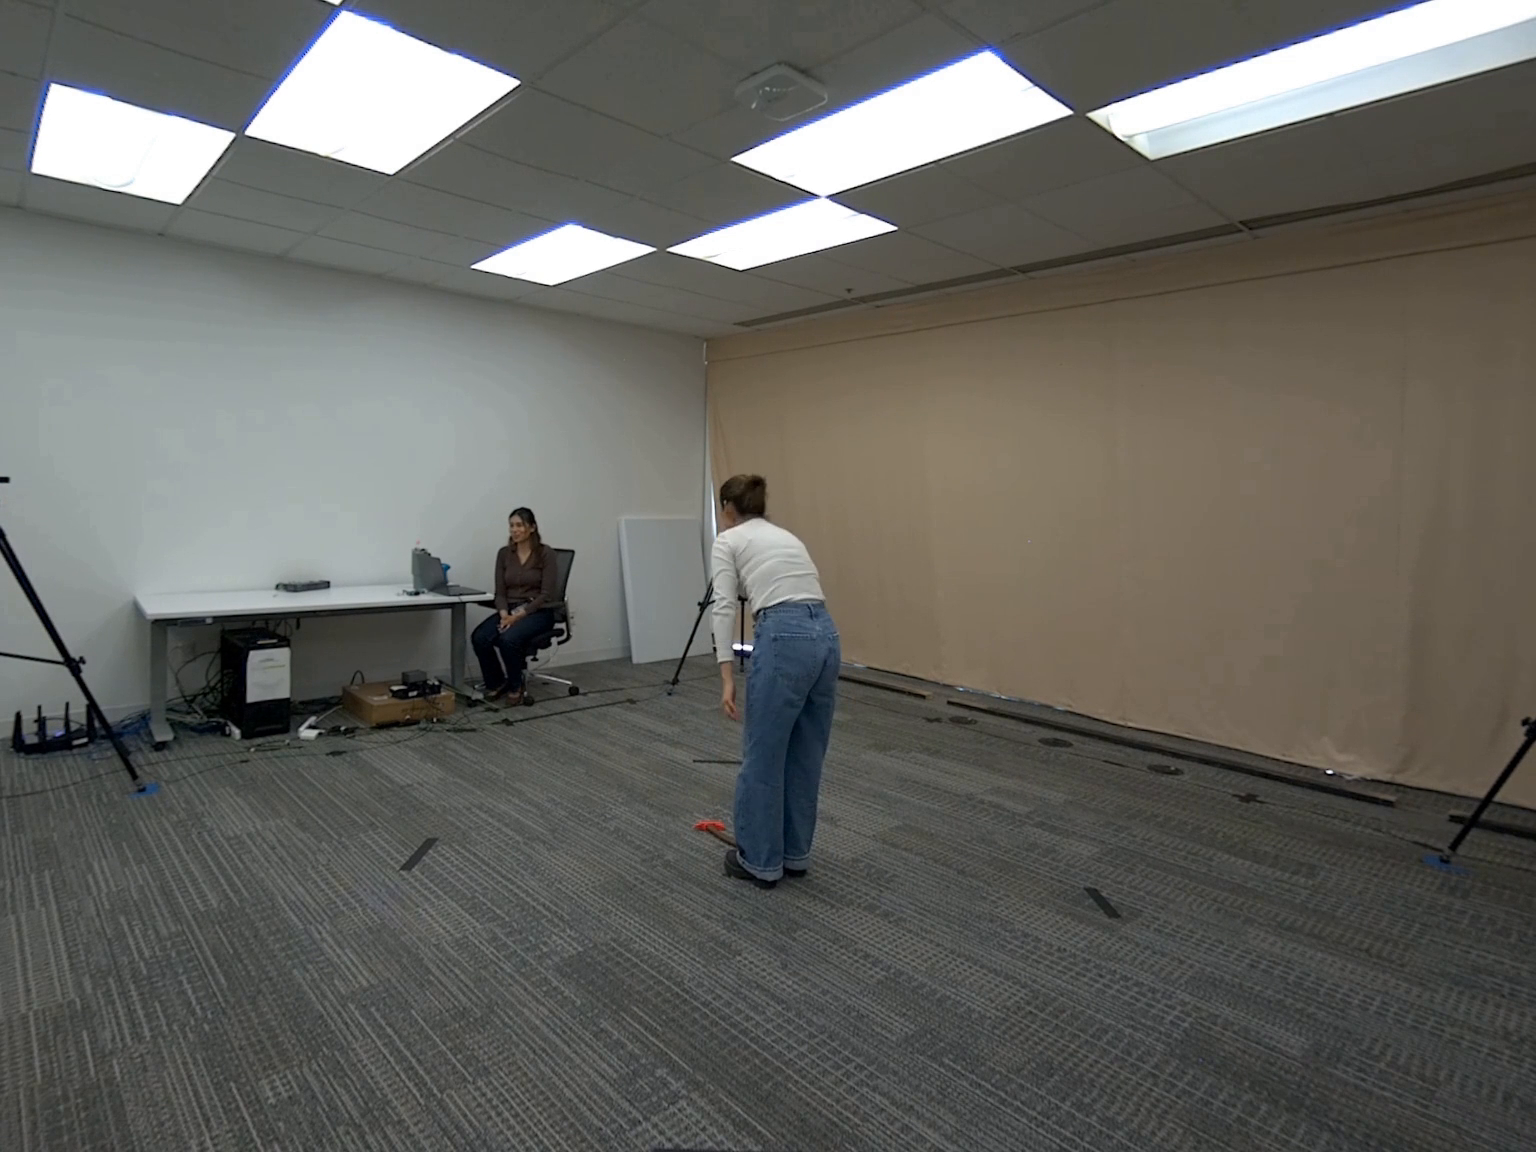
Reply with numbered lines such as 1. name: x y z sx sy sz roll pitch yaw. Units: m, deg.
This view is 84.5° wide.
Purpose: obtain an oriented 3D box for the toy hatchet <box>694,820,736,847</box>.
1. toy hatchet: -0.183 1.058 3.465 0.277 0.029 0.128 9 6 42
